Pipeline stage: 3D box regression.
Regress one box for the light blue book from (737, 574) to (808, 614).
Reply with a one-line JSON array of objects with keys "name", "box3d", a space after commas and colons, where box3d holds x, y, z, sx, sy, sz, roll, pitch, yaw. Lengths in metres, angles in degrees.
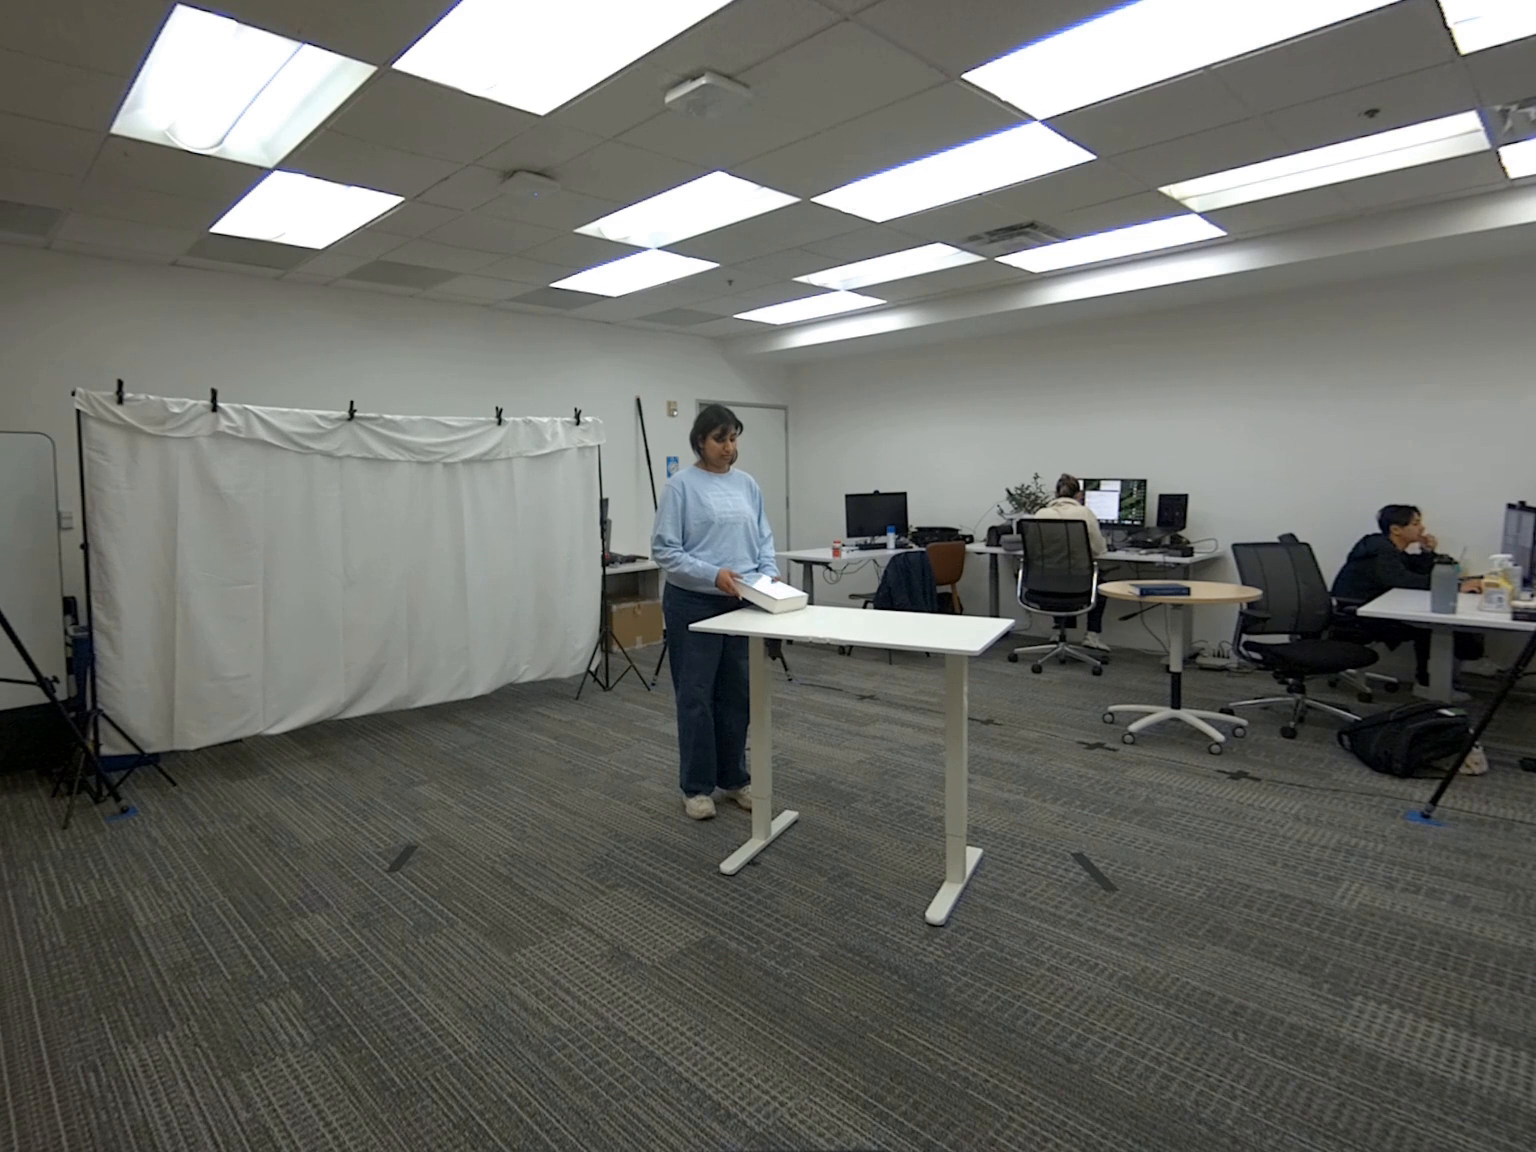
[{"name": "light blue book", "box3d": [-0.007, 0.068, 3.356, 0.271, 0.058, 0.186, 23, 19, 40]}]
